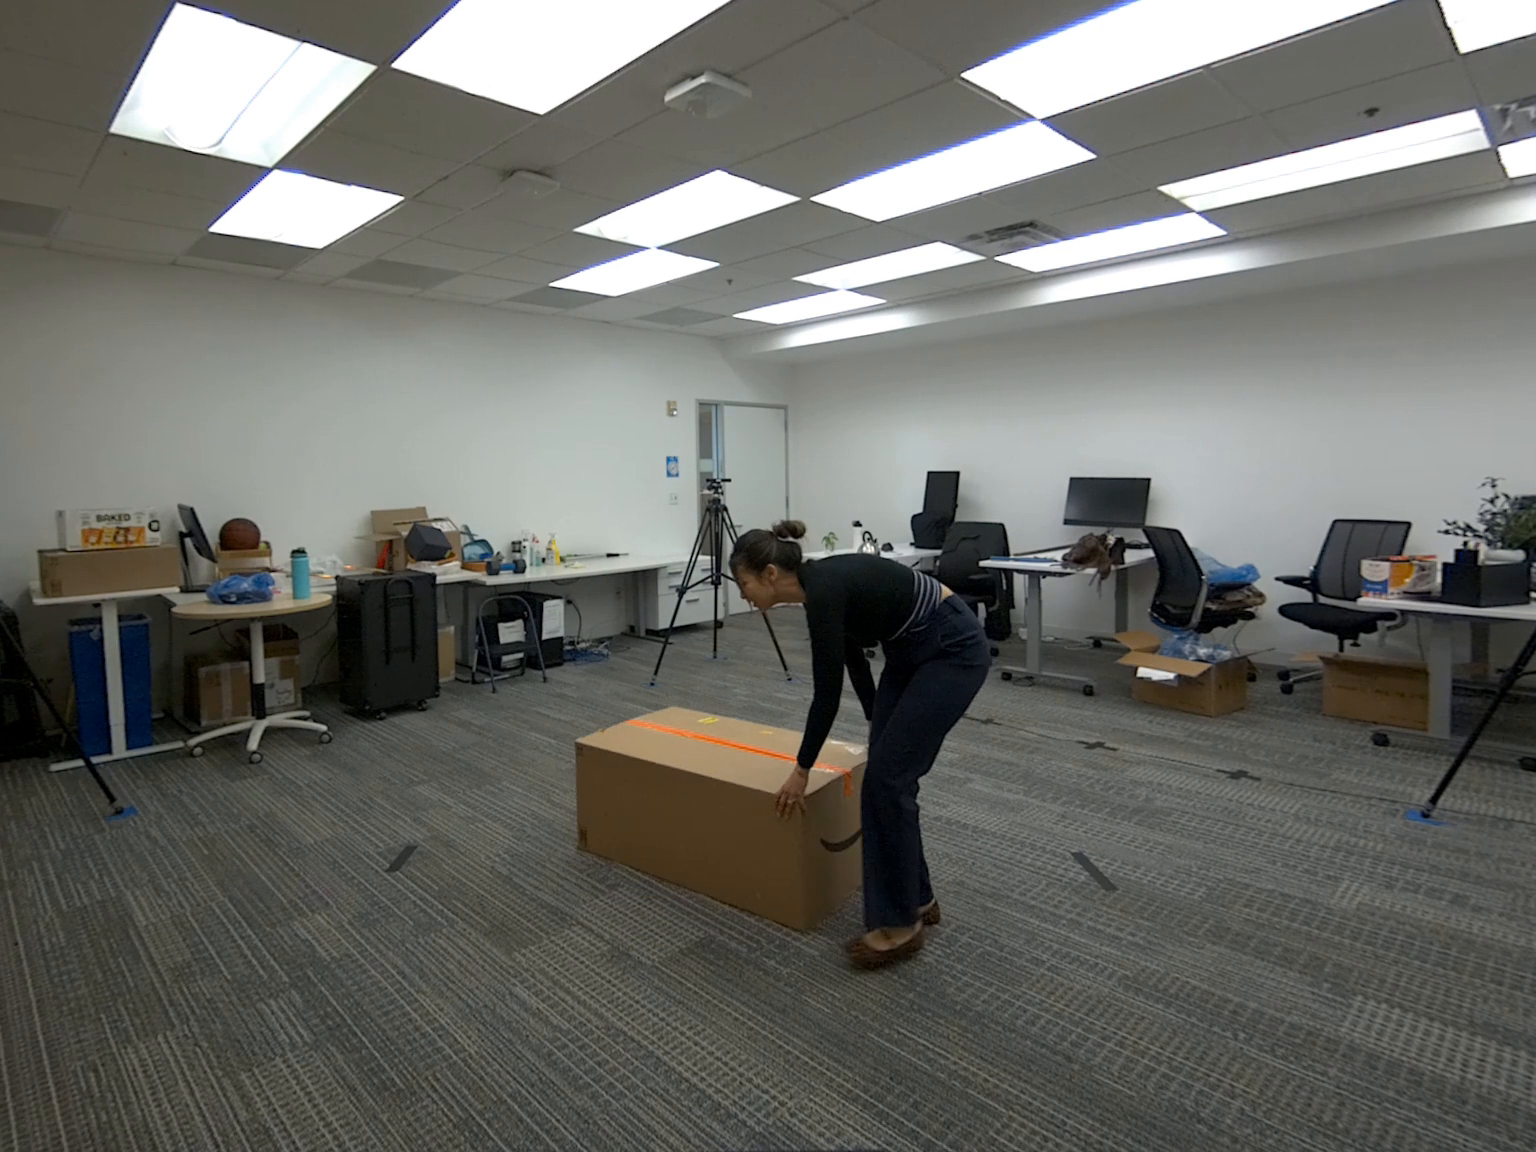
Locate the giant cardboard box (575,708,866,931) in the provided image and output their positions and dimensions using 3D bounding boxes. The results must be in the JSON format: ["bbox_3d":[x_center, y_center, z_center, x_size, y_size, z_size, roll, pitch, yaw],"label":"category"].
[{"bbox_3d":[-0.147,0.827,3.150,1.056,0.424,0.563,4,7,37],"label":"giant cardboard box"}]
